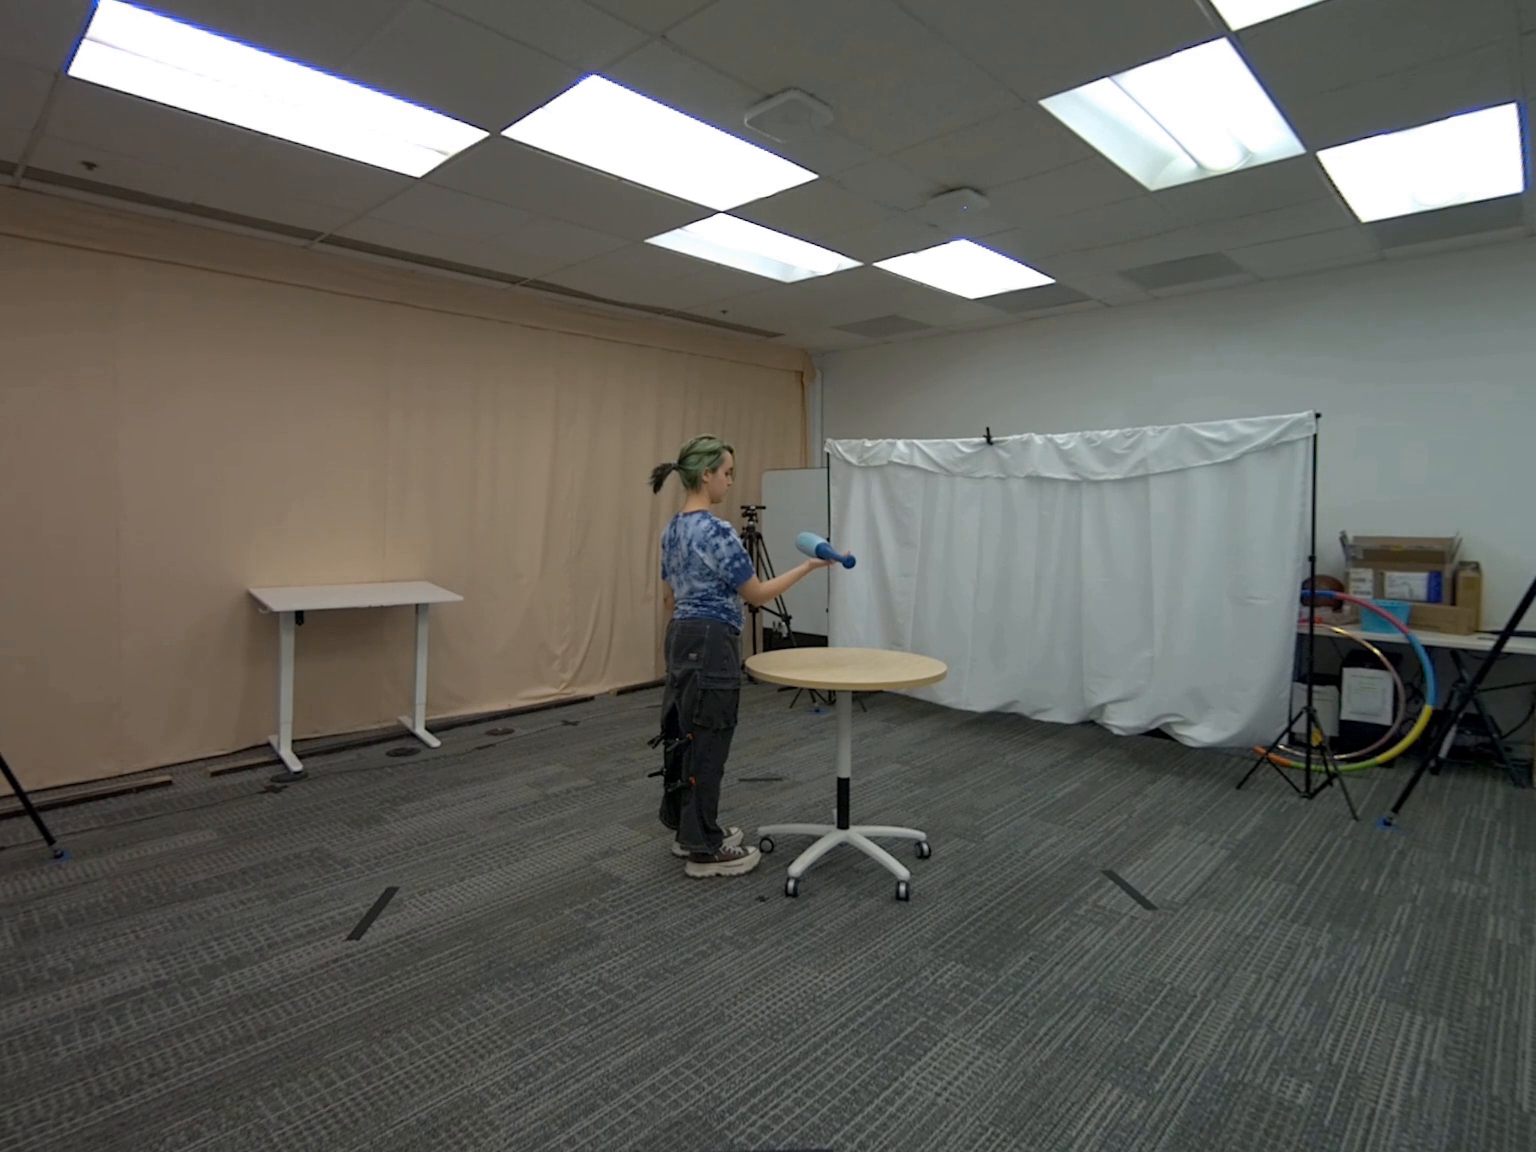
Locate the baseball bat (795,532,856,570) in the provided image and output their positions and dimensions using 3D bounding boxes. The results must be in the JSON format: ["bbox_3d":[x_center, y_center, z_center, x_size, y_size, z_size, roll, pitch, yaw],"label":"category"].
[{"bbox_3d":[0.231,-0.088,3.186,0.088,0.088,0.554,-1,11,-15],"label":"baseball bat"}]
